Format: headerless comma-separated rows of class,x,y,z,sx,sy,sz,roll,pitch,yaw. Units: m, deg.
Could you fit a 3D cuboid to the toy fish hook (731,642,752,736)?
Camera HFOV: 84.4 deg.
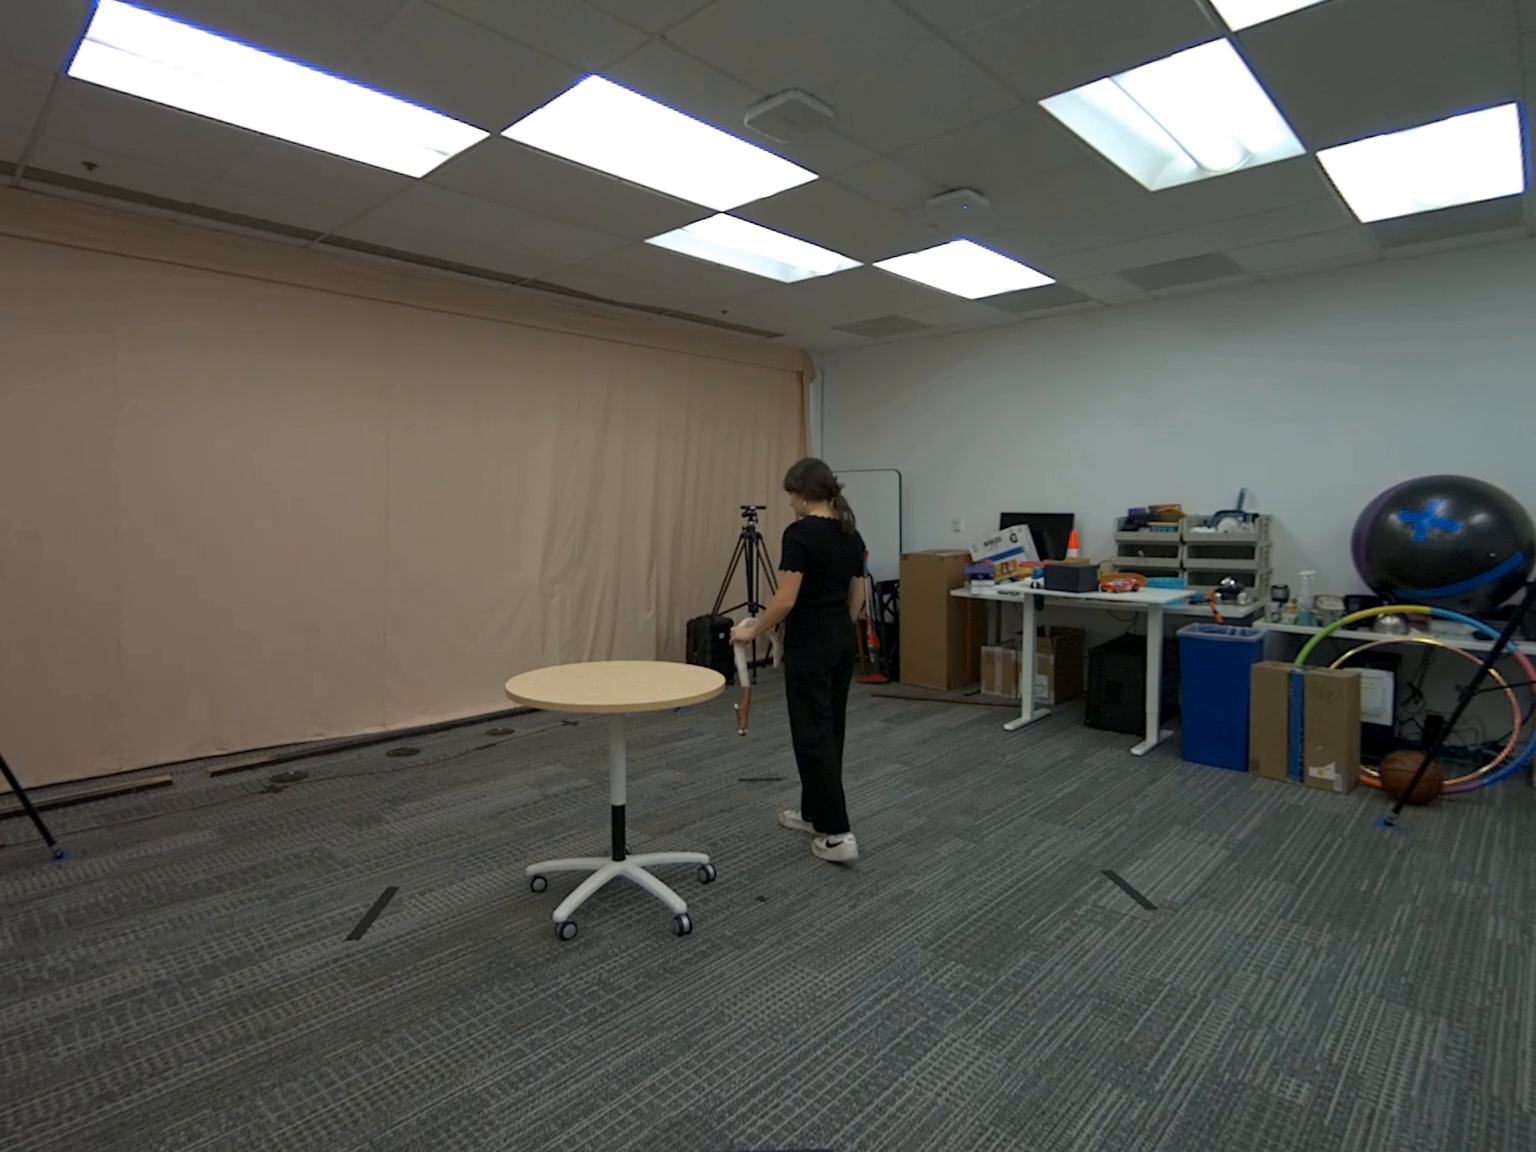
toy fish hook,-0.040,0.422,3.488,0.220,0.512,0.048,12,-26,-16
